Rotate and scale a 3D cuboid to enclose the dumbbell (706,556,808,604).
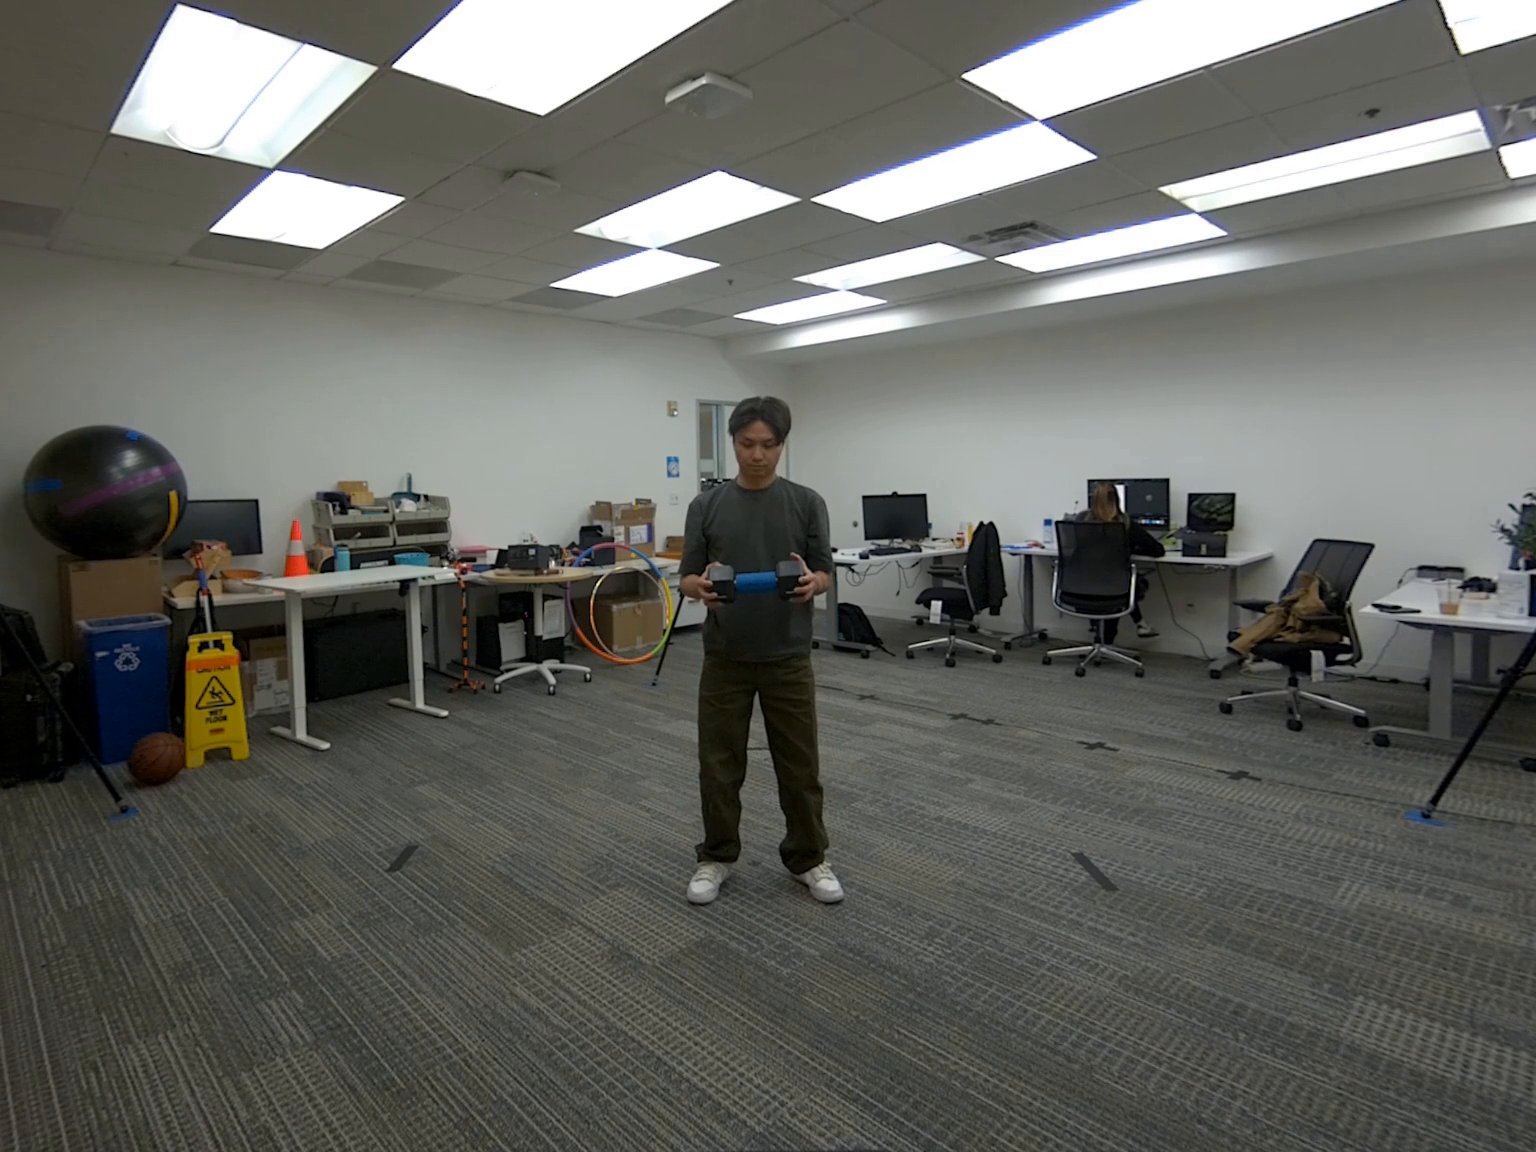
[{"bbox_3d":[-0.032,0.023,2.623,0.294,0.110,0.121,-6,-16,1],"label":"dumbbell"}]
